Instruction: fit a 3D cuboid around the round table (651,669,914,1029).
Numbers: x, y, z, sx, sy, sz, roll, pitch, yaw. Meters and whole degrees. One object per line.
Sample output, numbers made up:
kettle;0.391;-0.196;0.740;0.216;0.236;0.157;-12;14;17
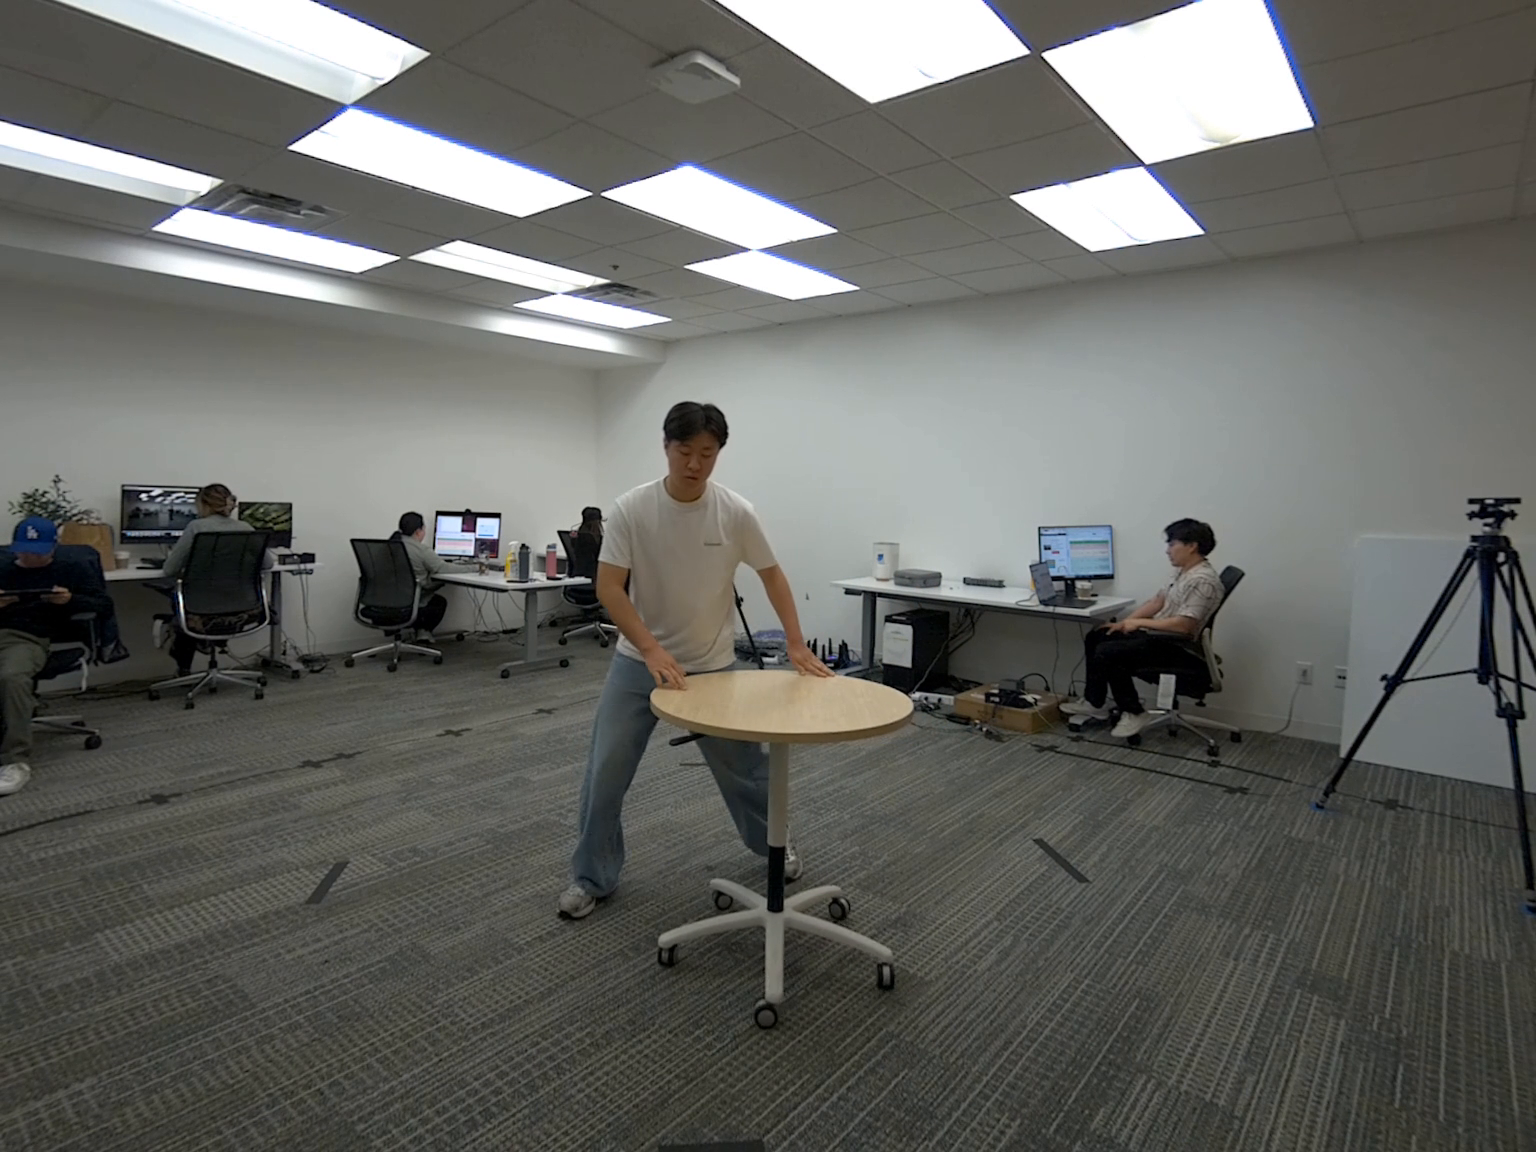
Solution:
round table;0.022;0.742;2.522;0.763;0.791;0.768;1;4;-2
